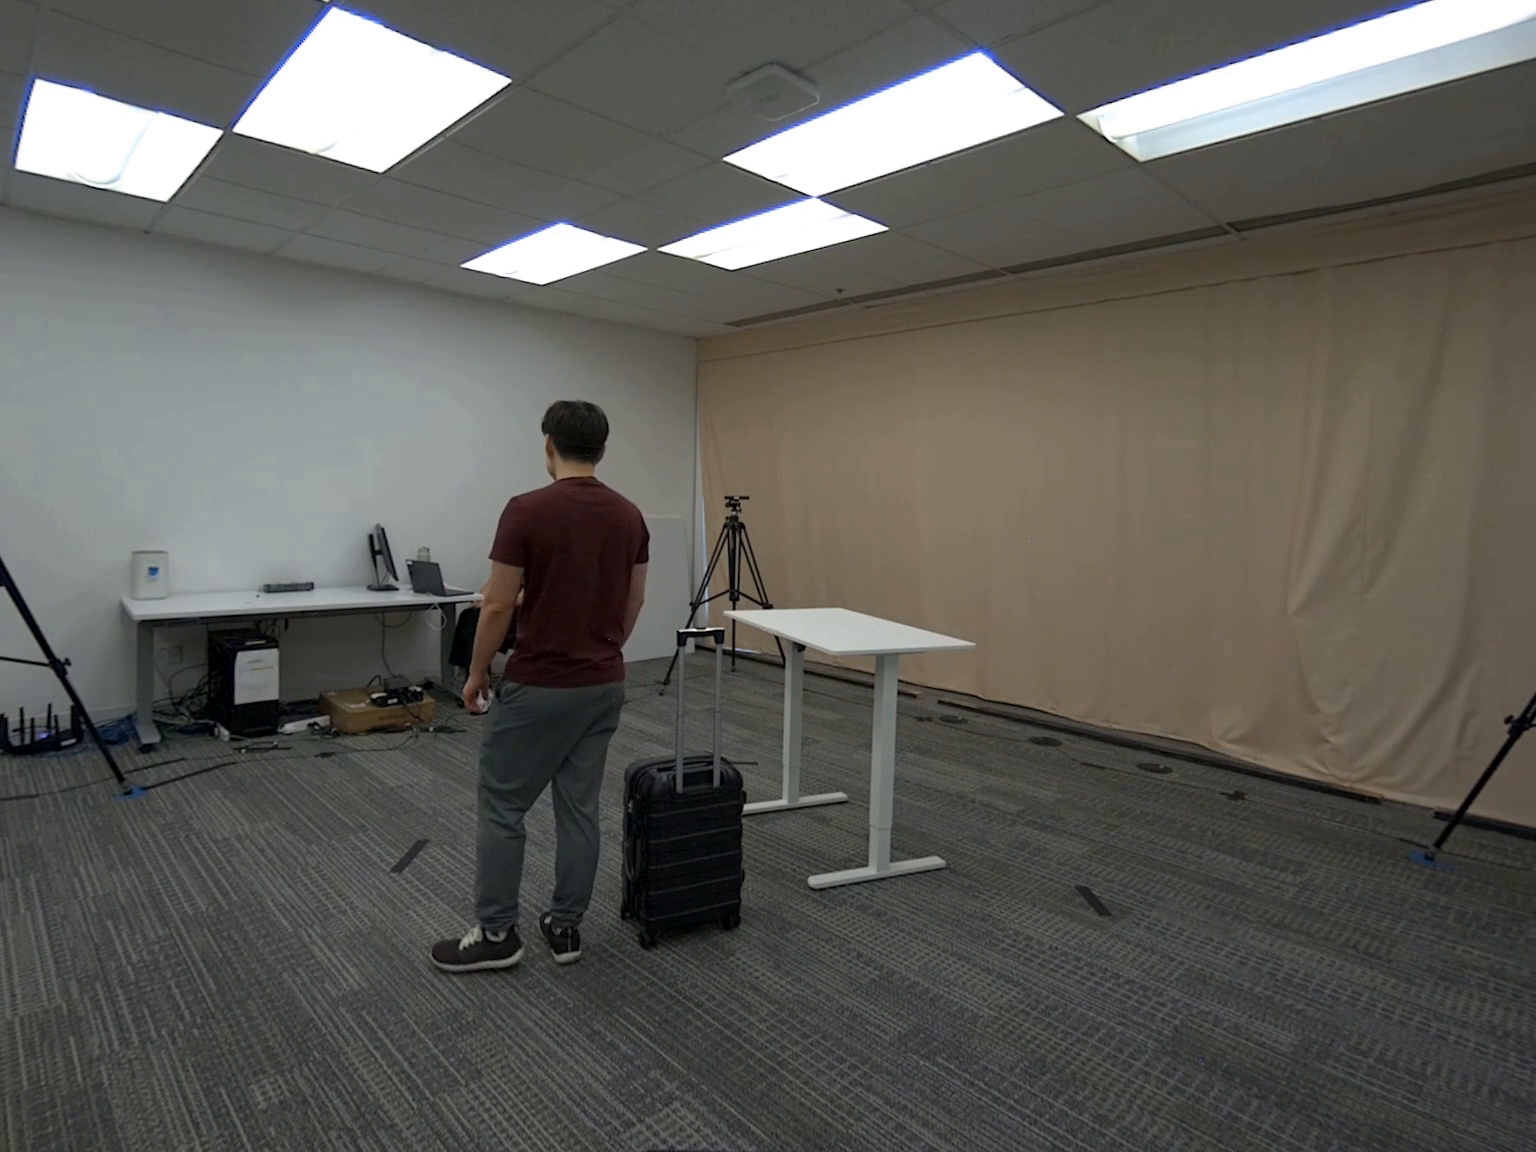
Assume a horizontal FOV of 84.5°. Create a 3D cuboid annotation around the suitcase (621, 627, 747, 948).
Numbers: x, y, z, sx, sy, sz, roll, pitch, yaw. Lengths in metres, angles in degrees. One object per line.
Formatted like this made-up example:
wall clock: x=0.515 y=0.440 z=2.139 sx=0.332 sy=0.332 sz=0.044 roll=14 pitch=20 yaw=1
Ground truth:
suitcase: x=-0.277 y=0.658 z=2.714 sx=0.377 sy=0.977 sz=0.262 roll=0 pitch=3 yaw=-25
